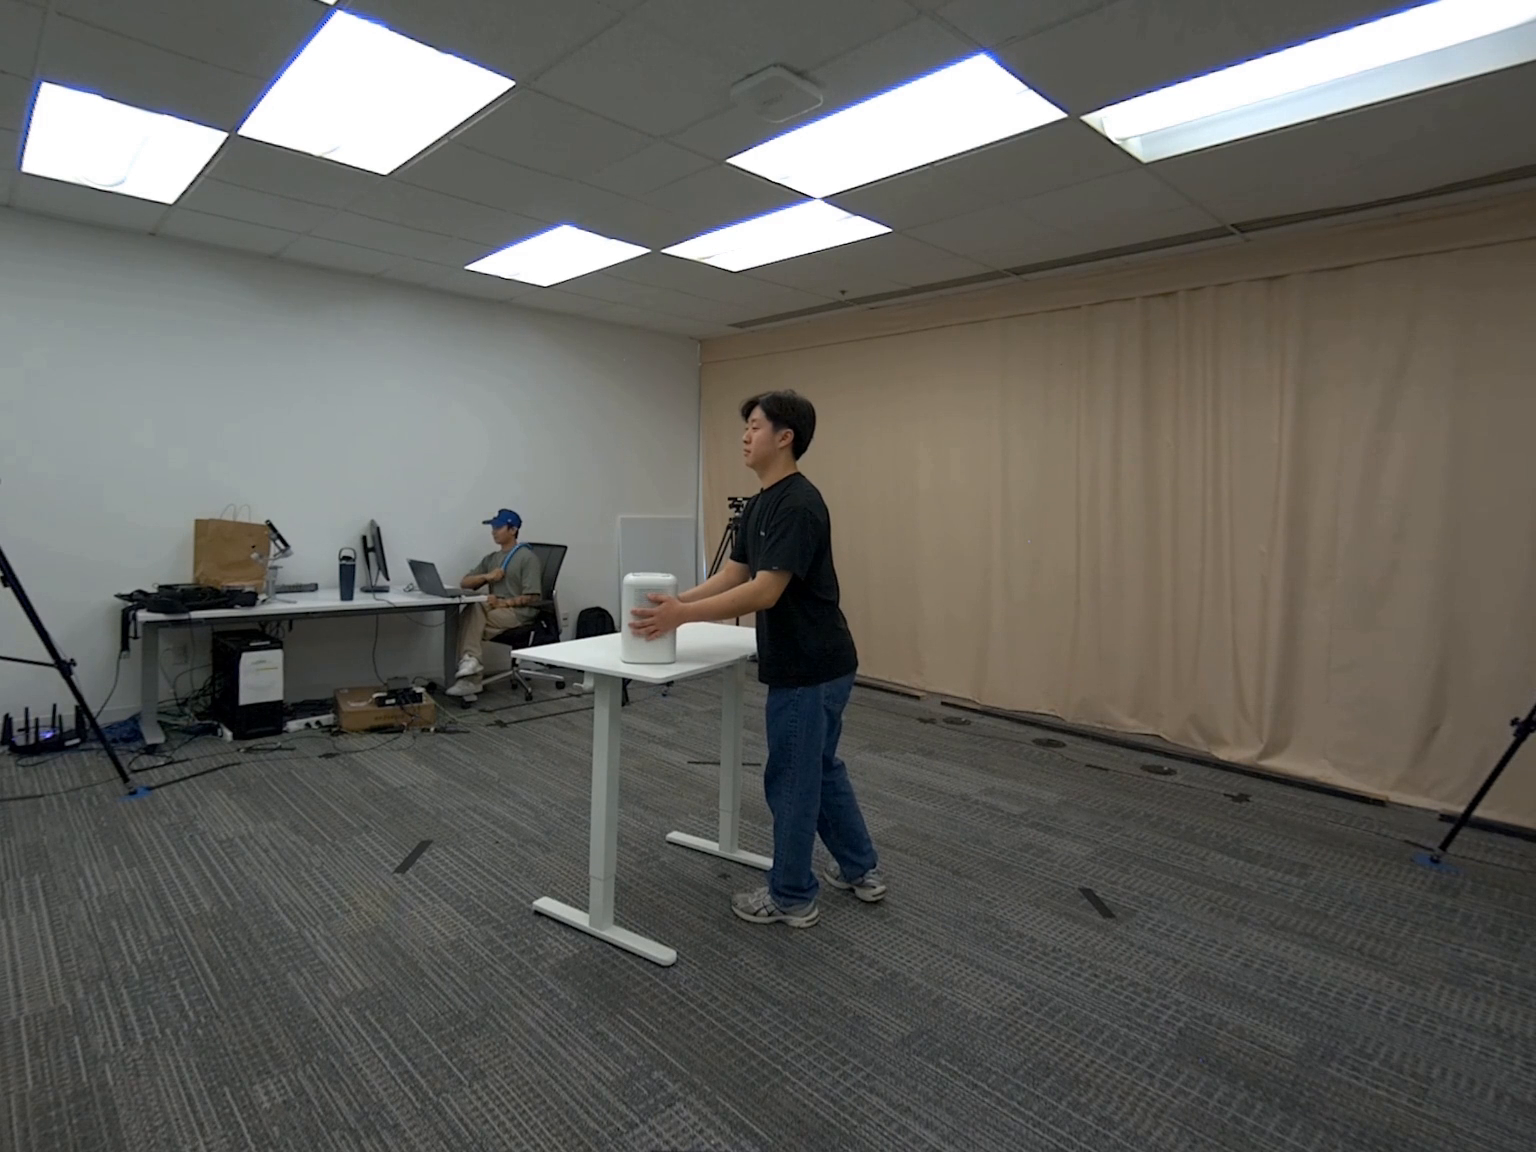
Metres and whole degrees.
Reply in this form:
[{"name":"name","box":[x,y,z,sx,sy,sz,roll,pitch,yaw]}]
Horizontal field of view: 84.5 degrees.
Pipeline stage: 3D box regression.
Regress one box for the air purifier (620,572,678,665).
[{"name":"air purifier","box":[-0.370,0.128,2.622,0.170,0.265,0.172,2,2,-8]}]
